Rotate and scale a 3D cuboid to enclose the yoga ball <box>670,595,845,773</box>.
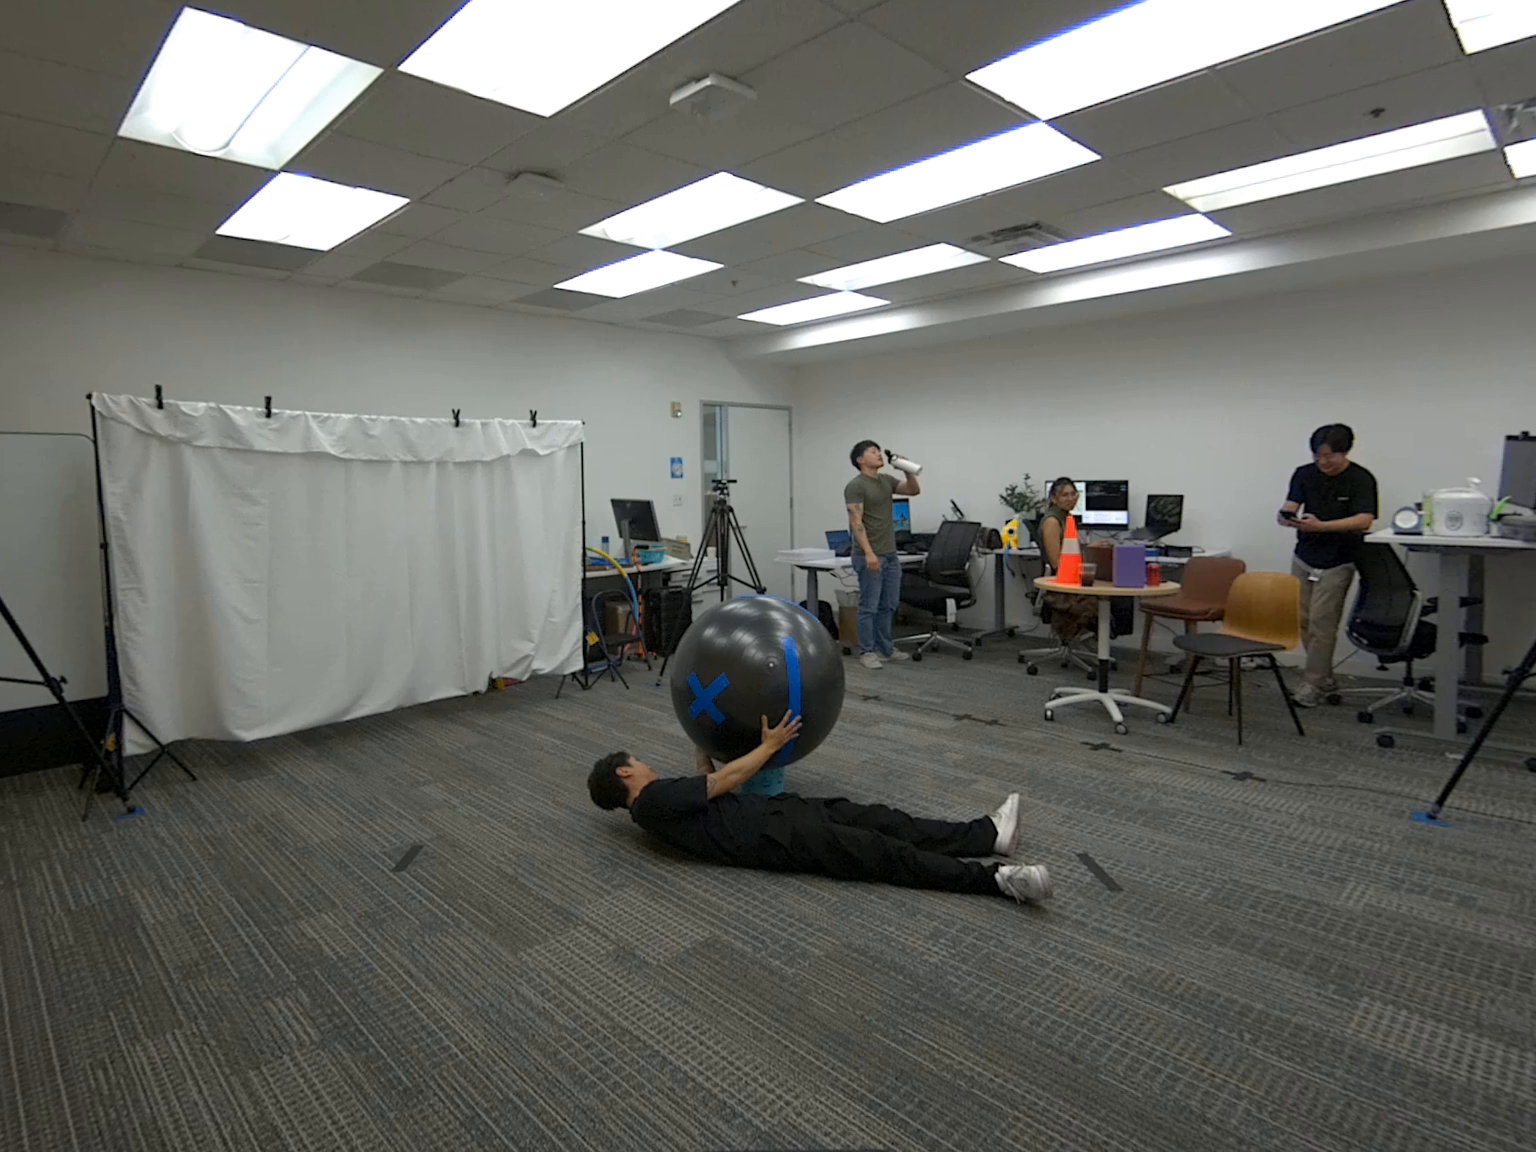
[{"bbox_3d":[-0.043,0.464,3.742,0.757,0.755,0.762,-1,5,-2],"label":"yoga ball"}]
